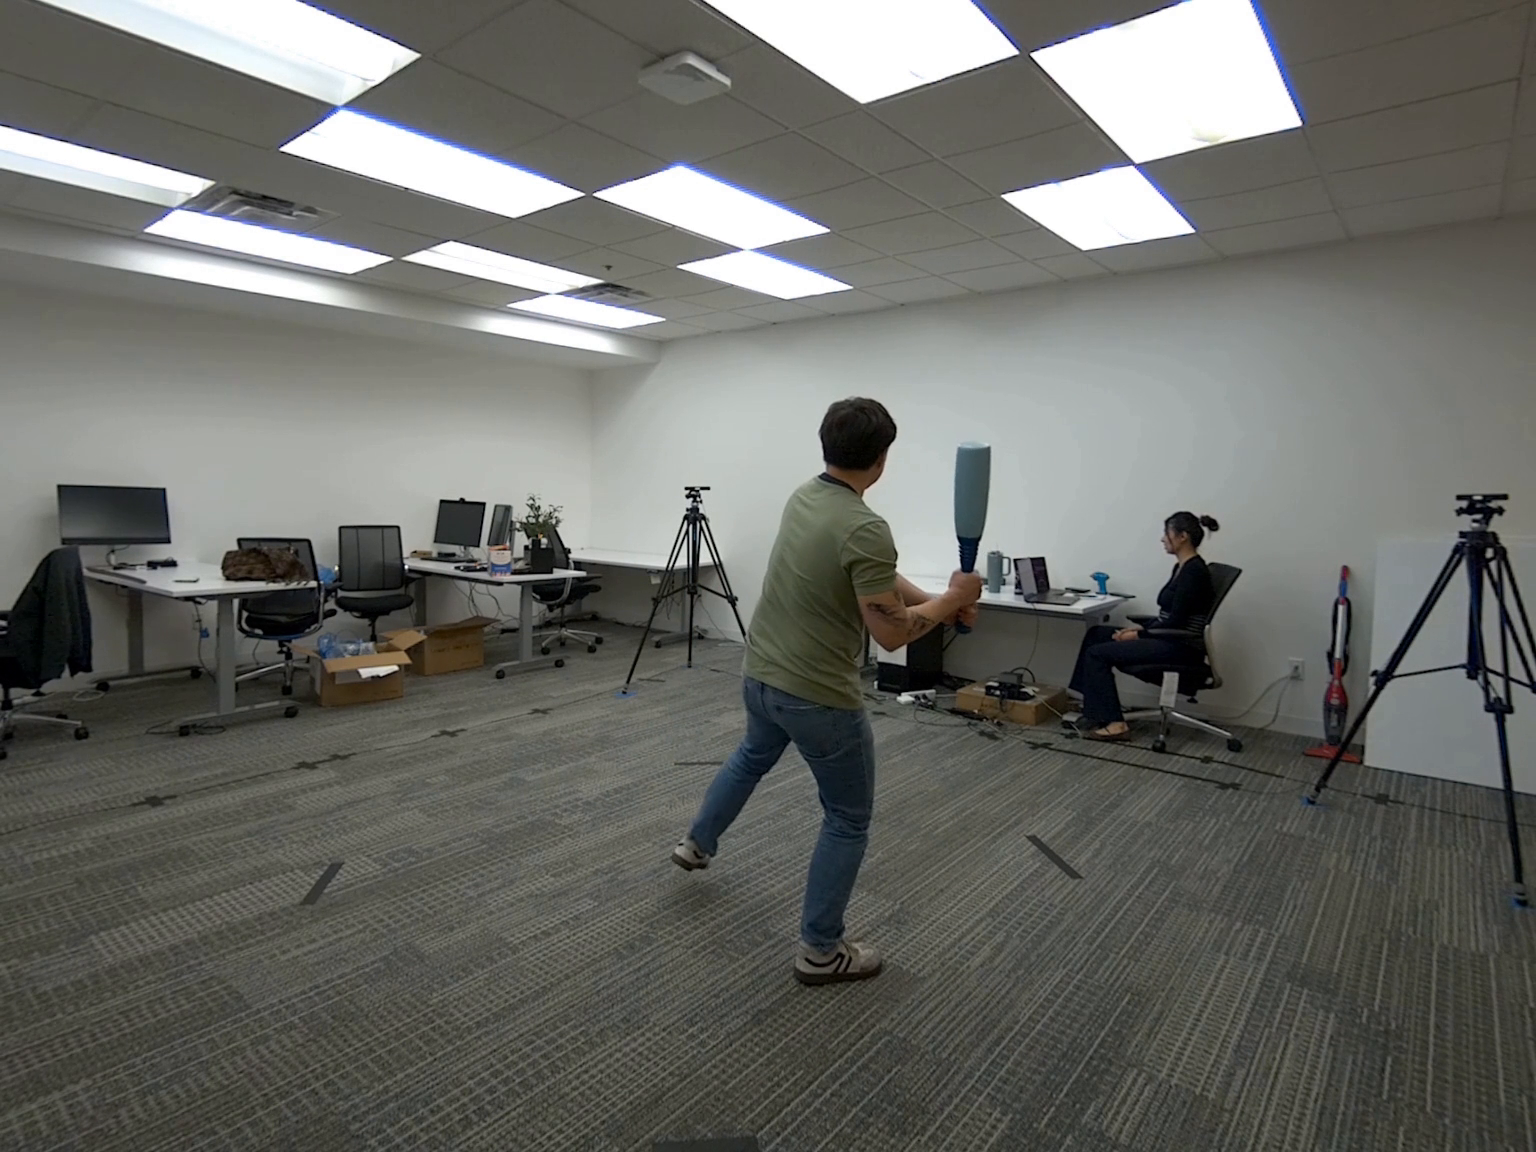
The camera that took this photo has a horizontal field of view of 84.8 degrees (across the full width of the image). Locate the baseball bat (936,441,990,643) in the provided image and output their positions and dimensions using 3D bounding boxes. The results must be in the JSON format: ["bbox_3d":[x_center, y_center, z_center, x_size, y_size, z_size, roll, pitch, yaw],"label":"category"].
[{"bbox_3d":[0.522,-0.089,2.277,0.089,0.534,0.090,-1,18,-1],"label":"baseball bat"}]
